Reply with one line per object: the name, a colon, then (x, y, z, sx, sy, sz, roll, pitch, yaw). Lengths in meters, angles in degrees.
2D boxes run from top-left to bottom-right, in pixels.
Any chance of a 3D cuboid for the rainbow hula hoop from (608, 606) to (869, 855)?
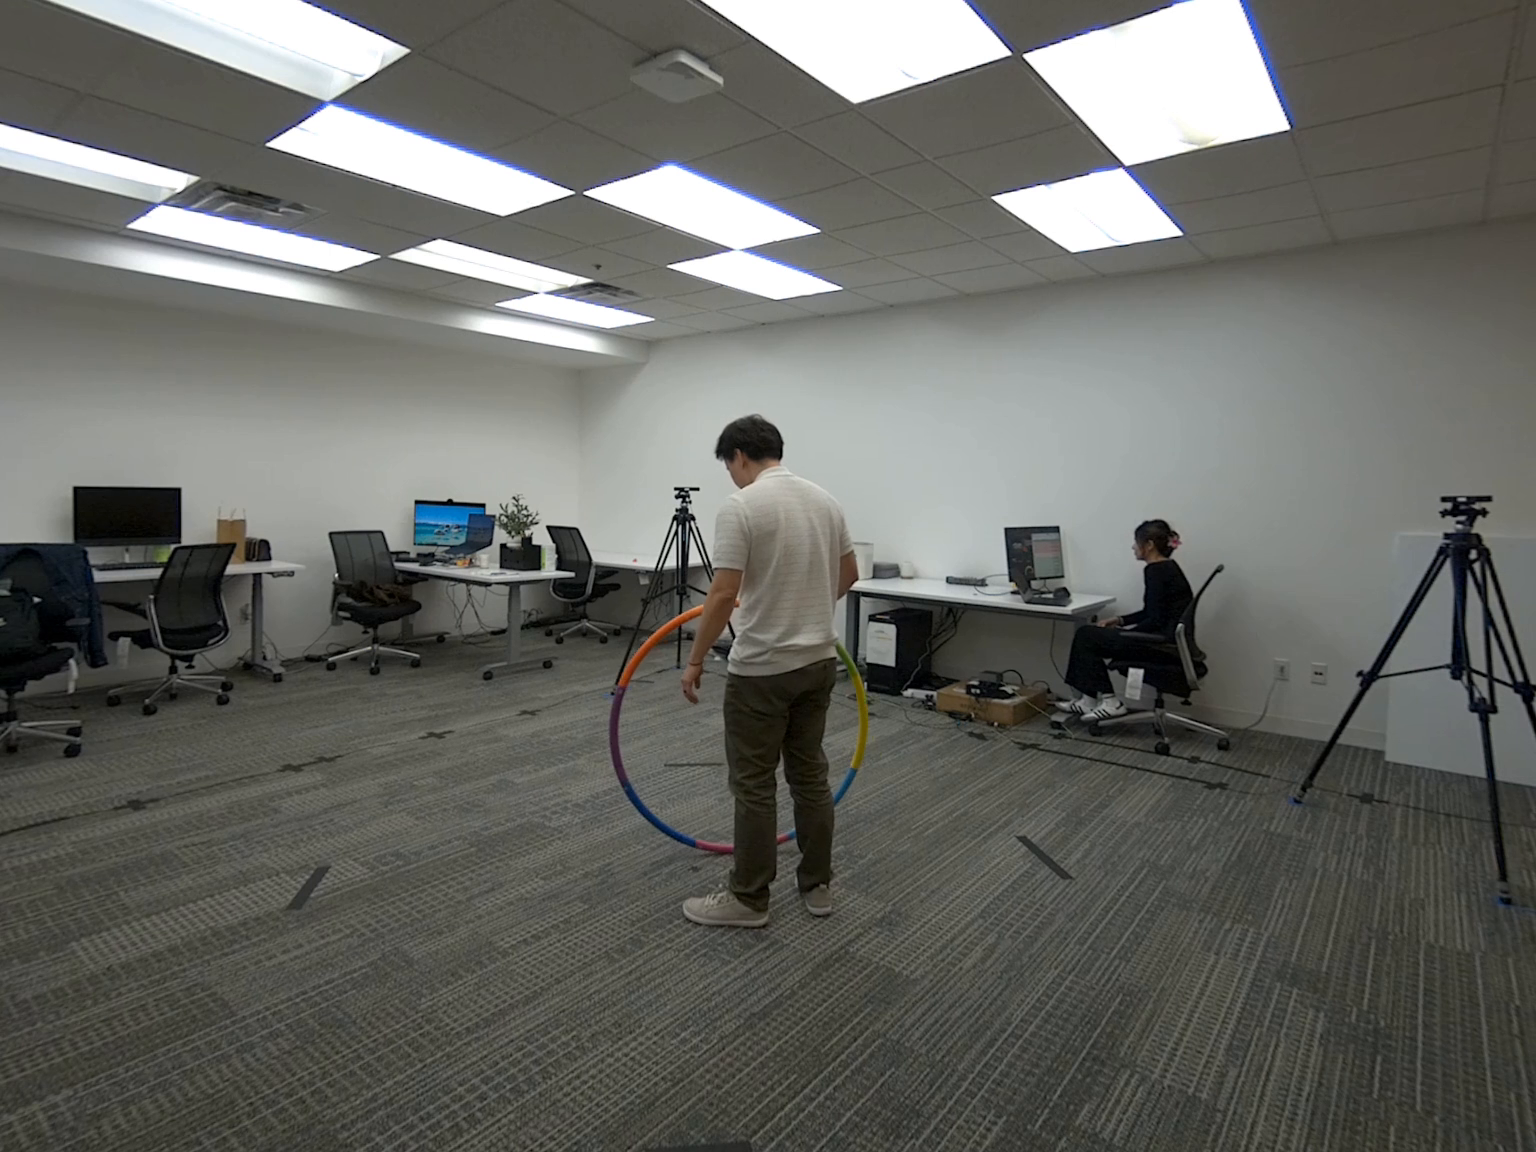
rainbow hula hoop: (-0.110, 0.578, 3.204, 0.969, 0.974, 0.036, 0, 5, -9)
